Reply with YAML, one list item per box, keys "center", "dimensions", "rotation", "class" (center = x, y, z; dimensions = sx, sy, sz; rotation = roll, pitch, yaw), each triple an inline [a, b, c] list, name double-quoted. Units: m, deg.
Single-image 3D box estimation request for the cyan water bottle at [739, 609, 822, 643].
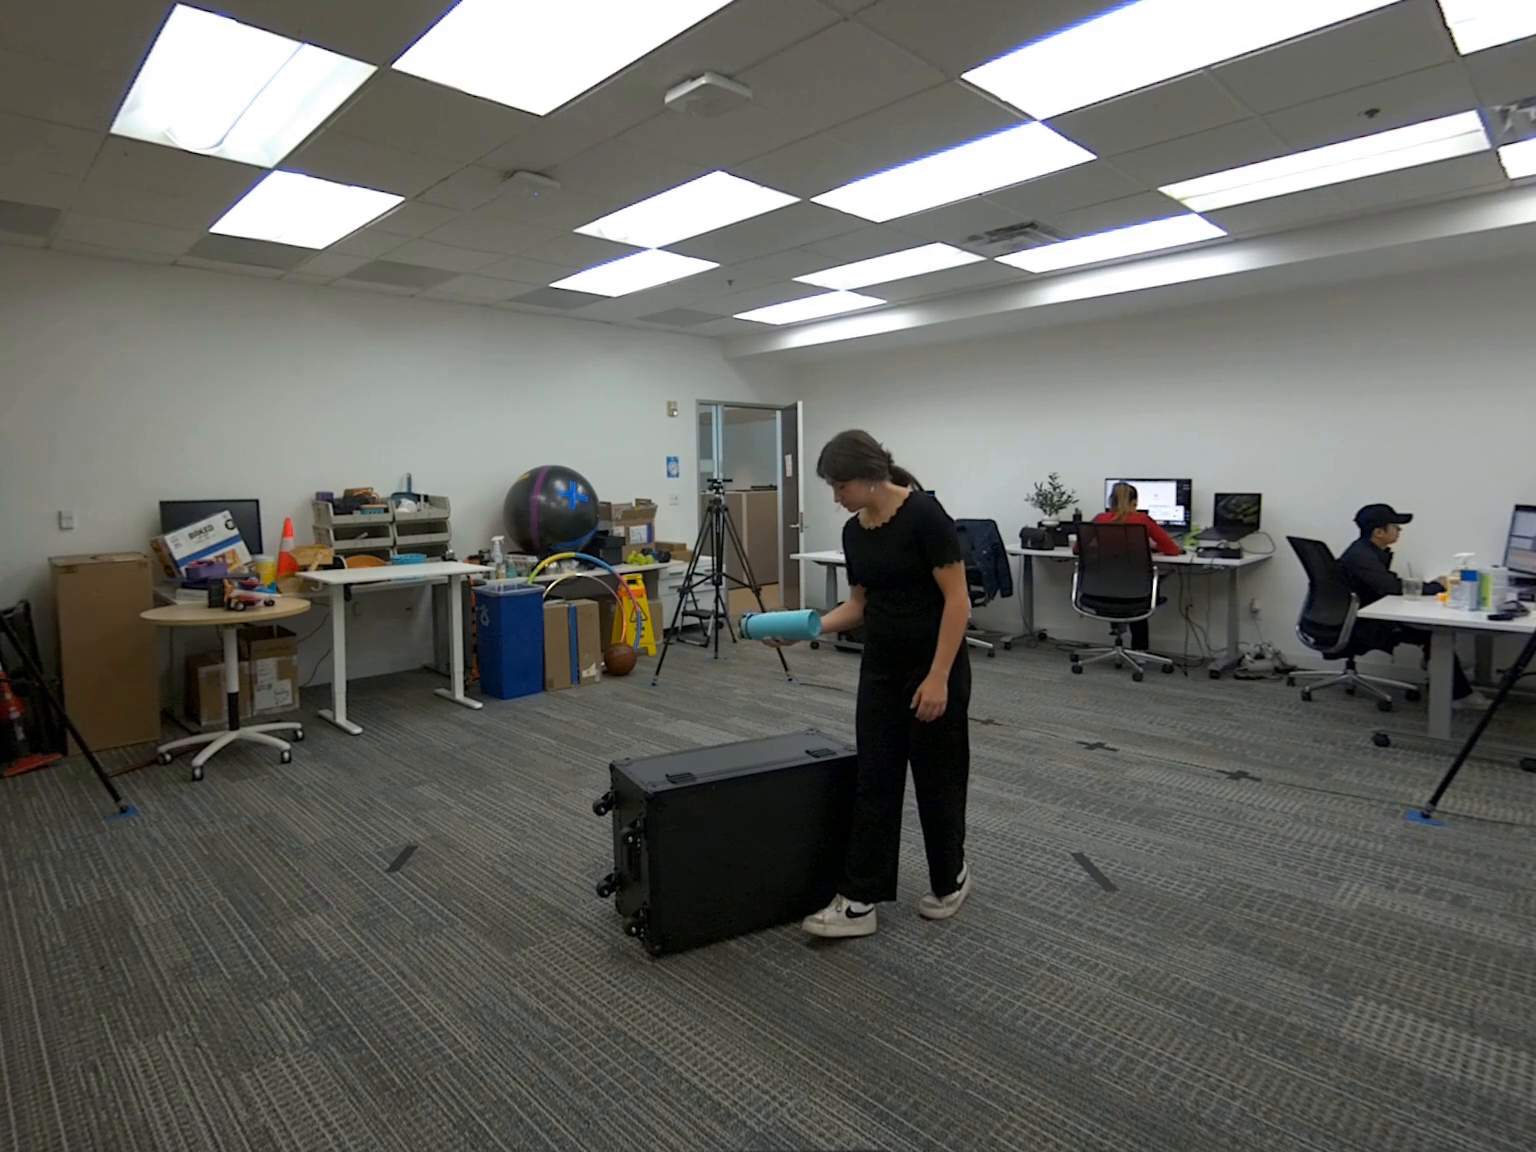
- center: [0.030, 0.159, 2.727]
  dimensions: [0.290, 0.092, 0.090]
  rotation: [-5, 1, 34]
  class: "cyan water bottle"
